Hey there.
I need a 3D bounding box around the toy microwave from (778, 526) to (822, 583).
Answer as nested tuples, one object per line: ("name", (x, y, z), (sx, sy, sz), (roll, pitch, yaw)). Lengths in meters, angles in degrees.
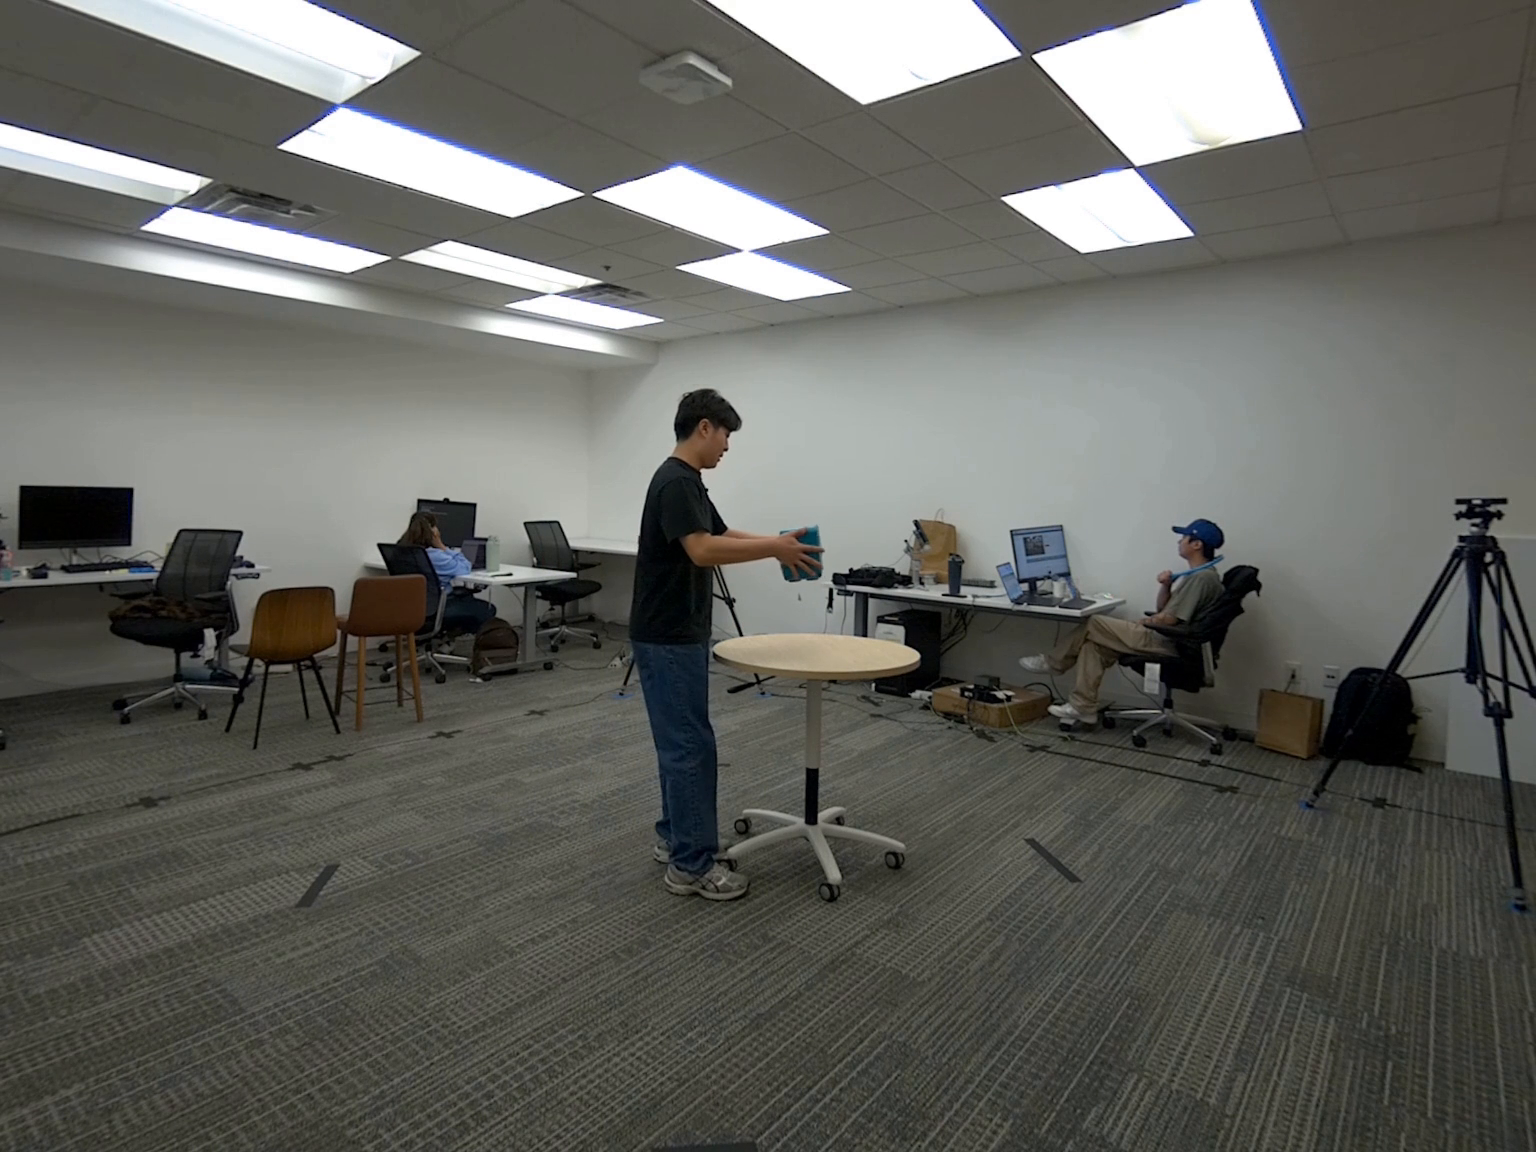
("toy microwave", (0.103, -0.084, 3.018), (0.153, 0.183, 0.285), (-5, 5, 6))
